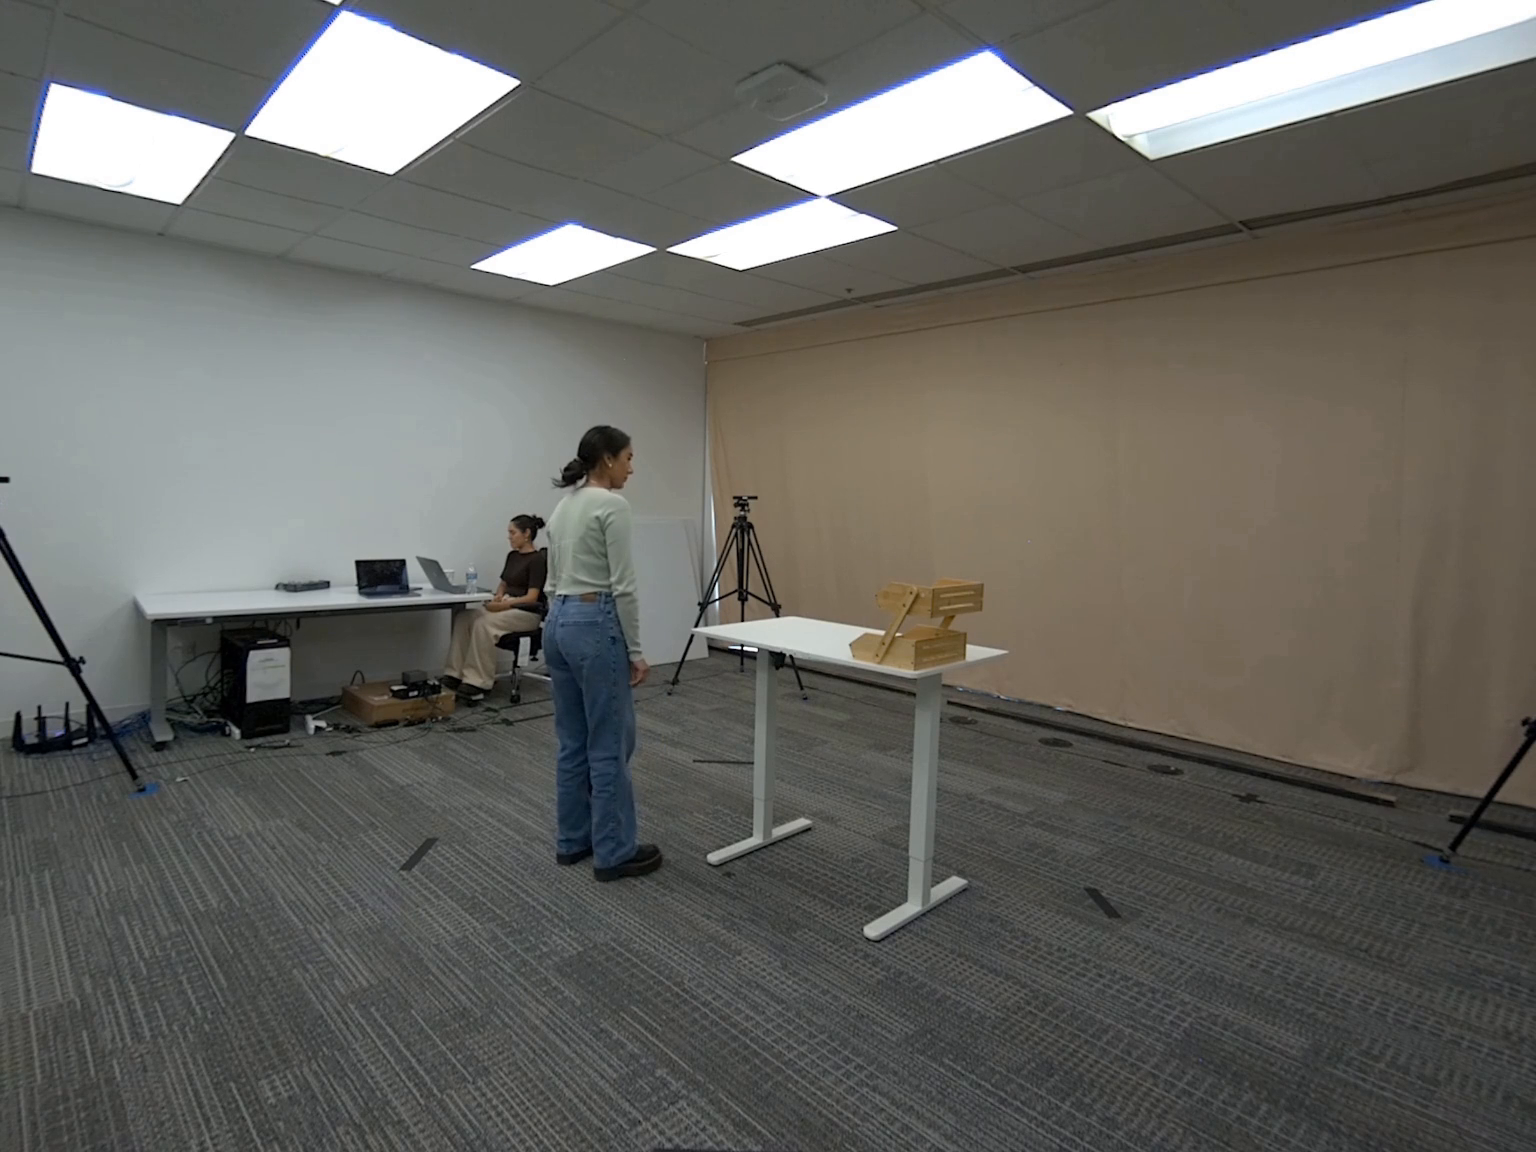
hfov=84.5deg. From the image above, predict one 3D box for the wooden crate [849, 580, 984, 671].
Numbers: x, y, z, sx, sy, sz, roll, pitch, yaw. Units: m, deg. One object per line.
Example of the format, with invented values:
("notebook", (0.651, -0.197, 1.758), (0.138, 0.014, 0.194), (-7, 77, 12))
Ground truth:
("wooden crate", (0.471, 0.140, 2.715), (0.310, 0.272, 0.317), (7, 7, 44))
